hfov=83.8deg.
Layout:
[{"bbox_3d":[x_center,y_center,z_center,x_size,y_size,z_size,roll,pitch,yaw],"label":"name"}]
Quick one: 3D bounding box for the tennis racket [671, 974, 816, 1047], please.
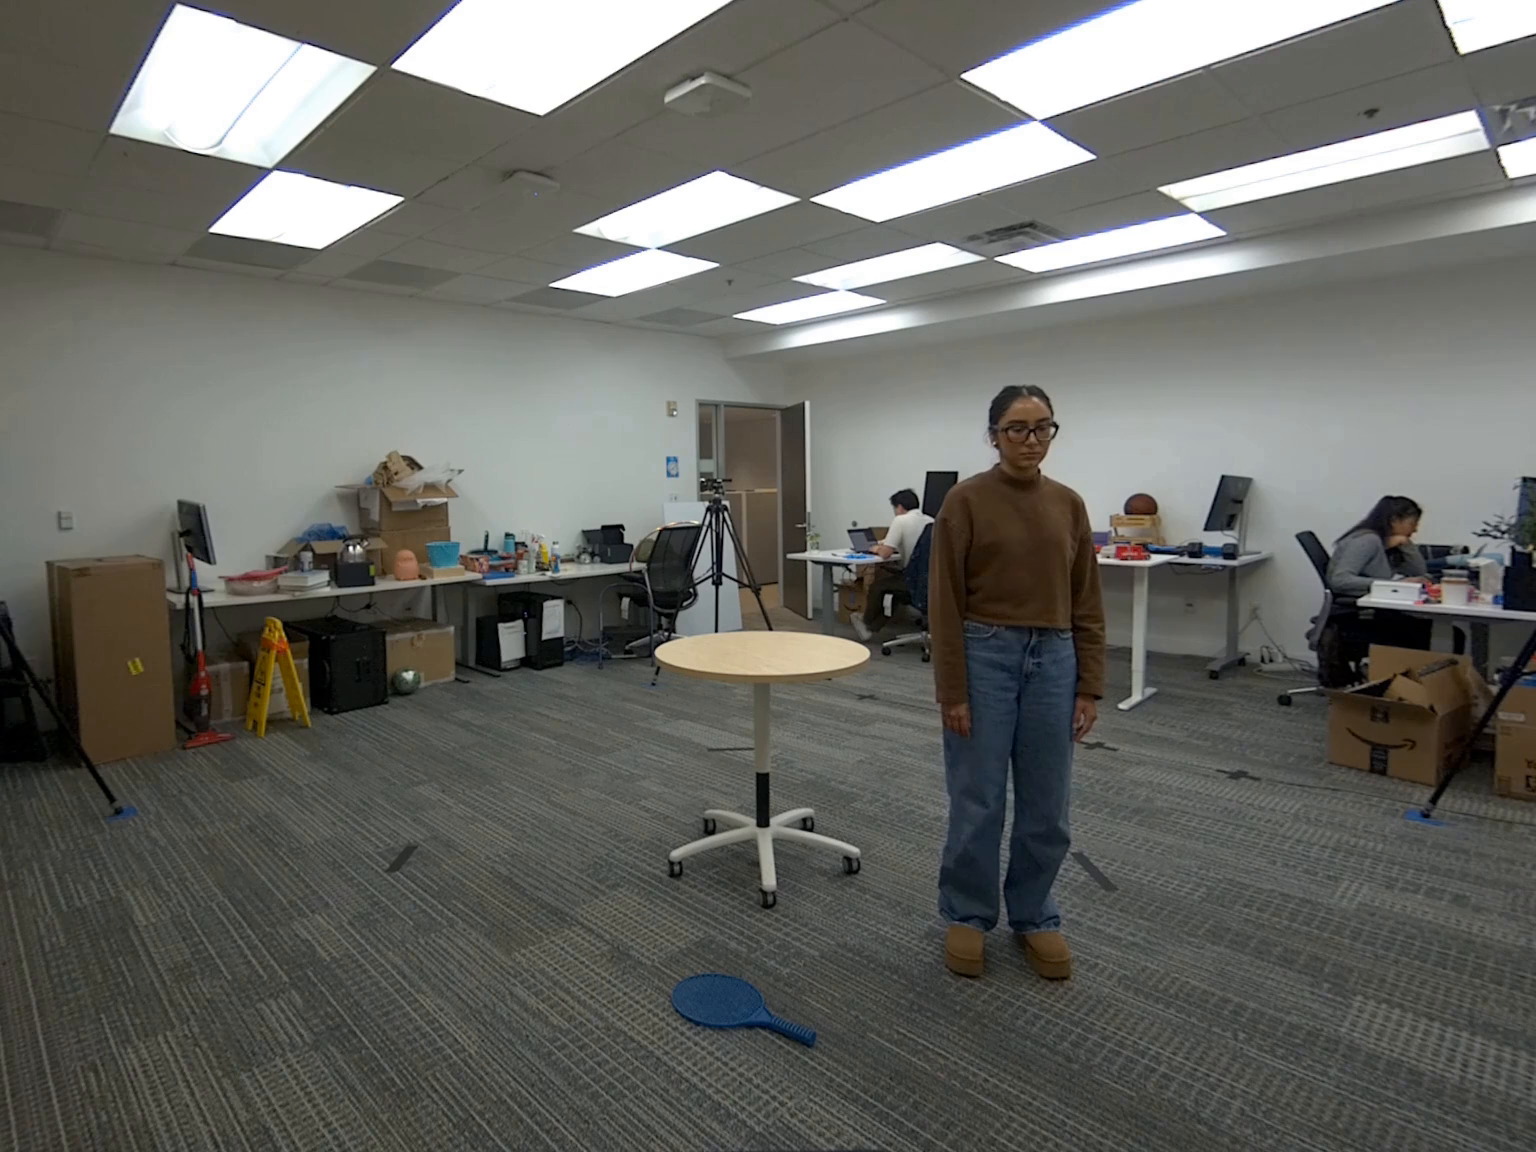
[{"bbox_3d":[-0.062,1.132,2.238,0.445,0.031,0.208,2,8,38],"label":"tennis racket"}]
